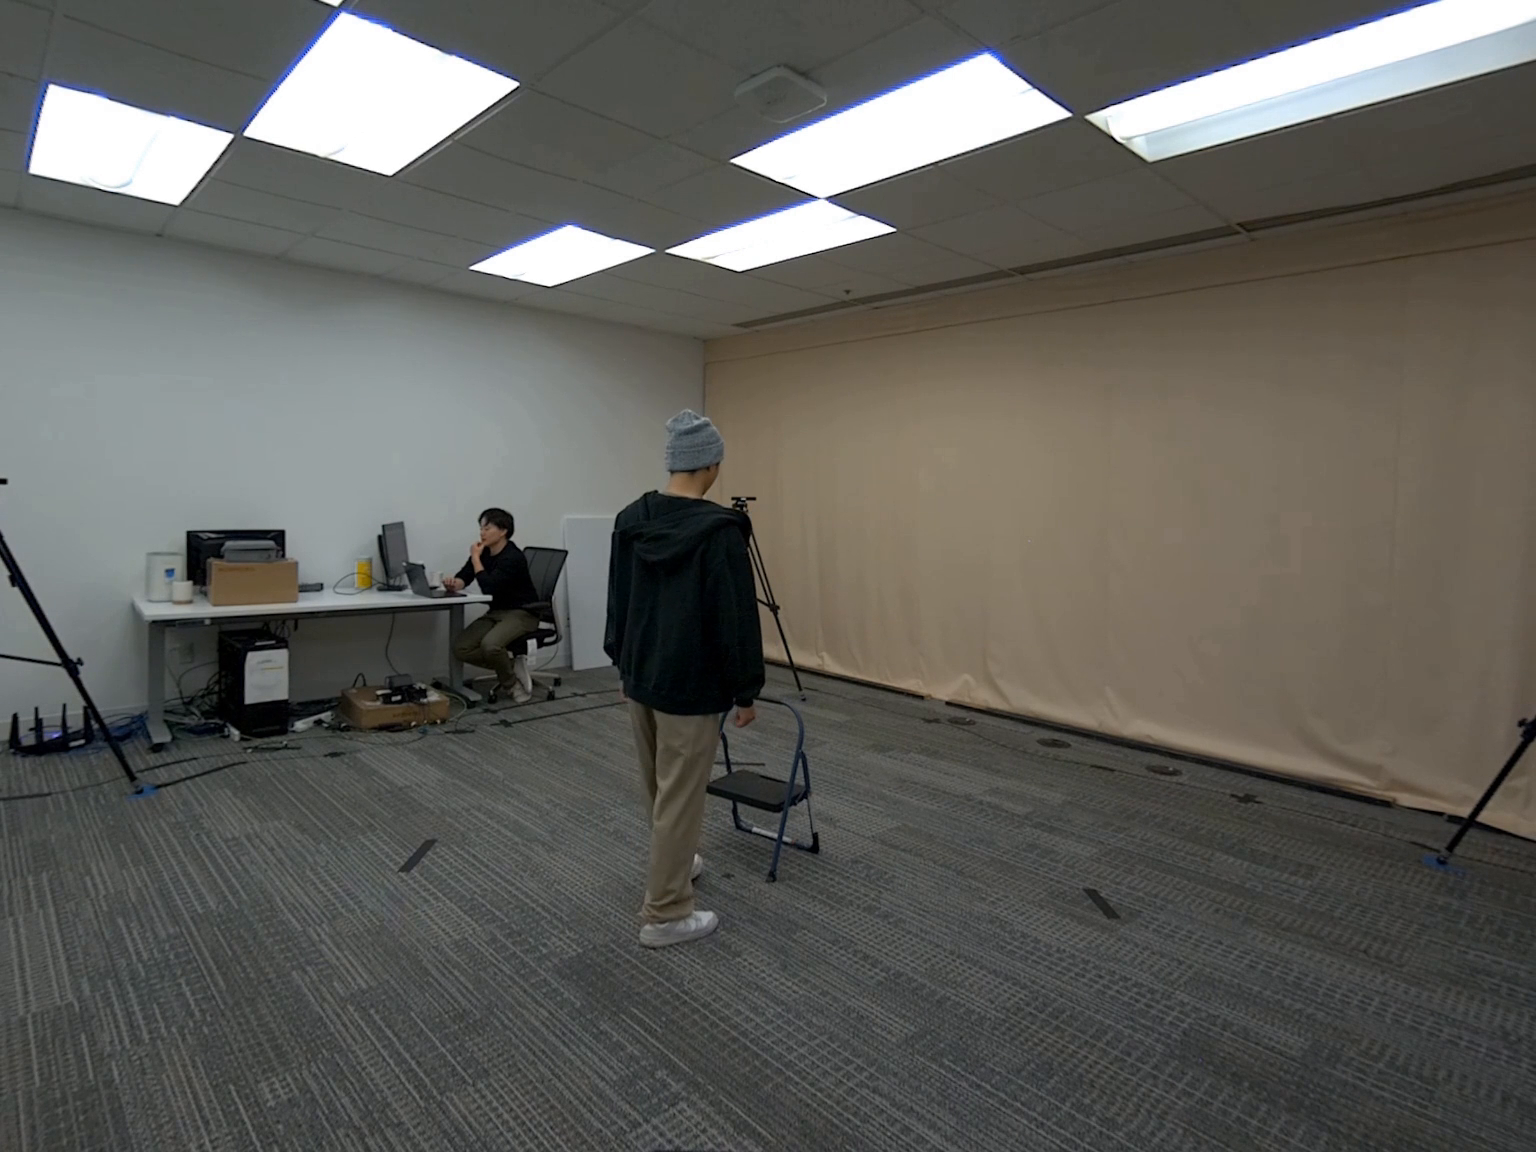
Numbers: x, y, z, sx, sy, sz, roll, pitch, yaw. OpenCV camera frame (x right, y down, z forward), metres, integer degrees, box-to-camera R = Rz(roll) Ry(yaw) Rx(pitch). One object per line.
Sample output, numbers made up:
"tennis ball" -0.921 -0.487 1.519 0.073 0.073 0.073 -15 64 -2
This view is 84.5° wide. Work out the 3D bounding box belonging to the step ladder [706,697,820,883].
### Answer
"step ladder" -0.056 0.788 3.305 0.441 0.604 0.342 4 5 36
